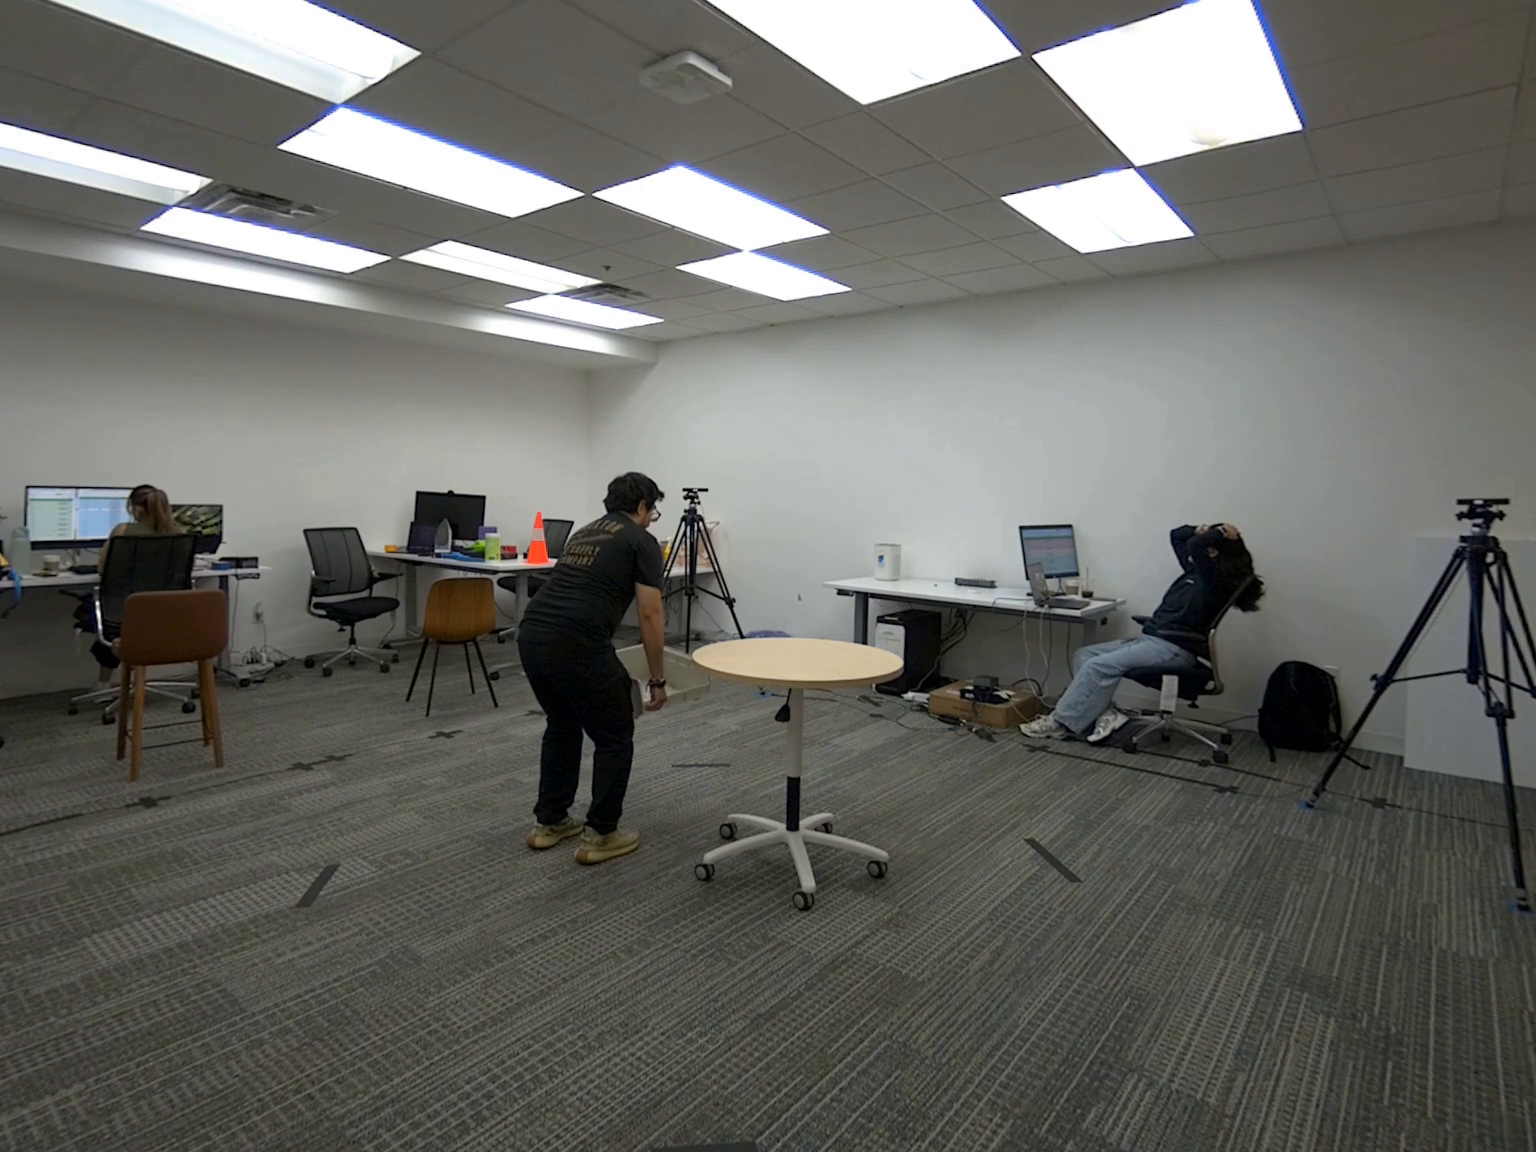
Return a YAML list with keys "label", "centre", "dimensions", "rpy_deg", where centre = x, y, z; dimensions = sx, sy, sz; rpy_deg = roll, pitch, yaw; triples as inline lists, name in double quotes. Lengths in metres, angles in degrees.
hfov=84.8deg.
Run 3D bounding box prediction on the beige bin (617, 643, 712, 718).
- label: "beige bin"
  centre: [-0.536, 0.451, 3.698]
  dimensions: [0.391, 0.187, 0.411]
  rpy_deg: [12, 15, 39]
